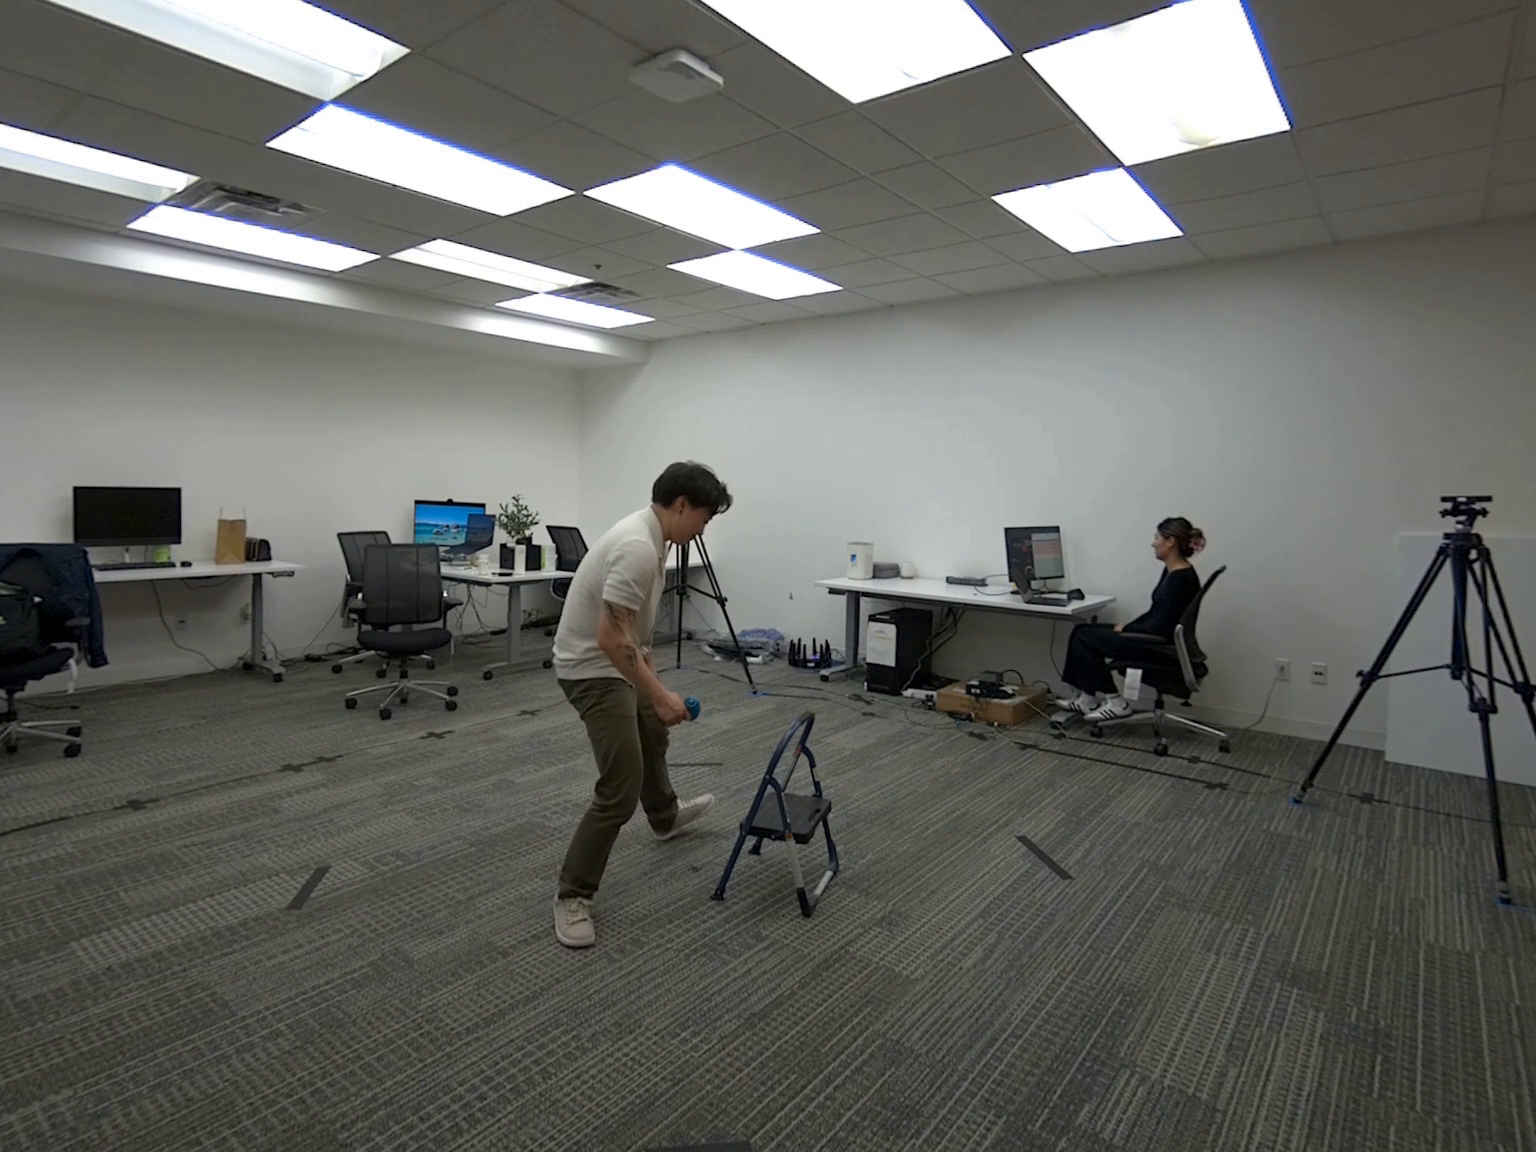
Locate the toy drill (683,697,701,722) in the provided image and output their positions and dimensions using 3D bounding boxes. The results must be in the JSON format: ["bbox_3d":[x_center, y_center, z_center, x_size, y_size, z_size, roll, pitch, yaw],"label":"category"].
[{"bbox_3d":[-0.297,0.444,2.718,0.145,0.063,0.166,-16,-27,-12],"label":"toy drill"}]
